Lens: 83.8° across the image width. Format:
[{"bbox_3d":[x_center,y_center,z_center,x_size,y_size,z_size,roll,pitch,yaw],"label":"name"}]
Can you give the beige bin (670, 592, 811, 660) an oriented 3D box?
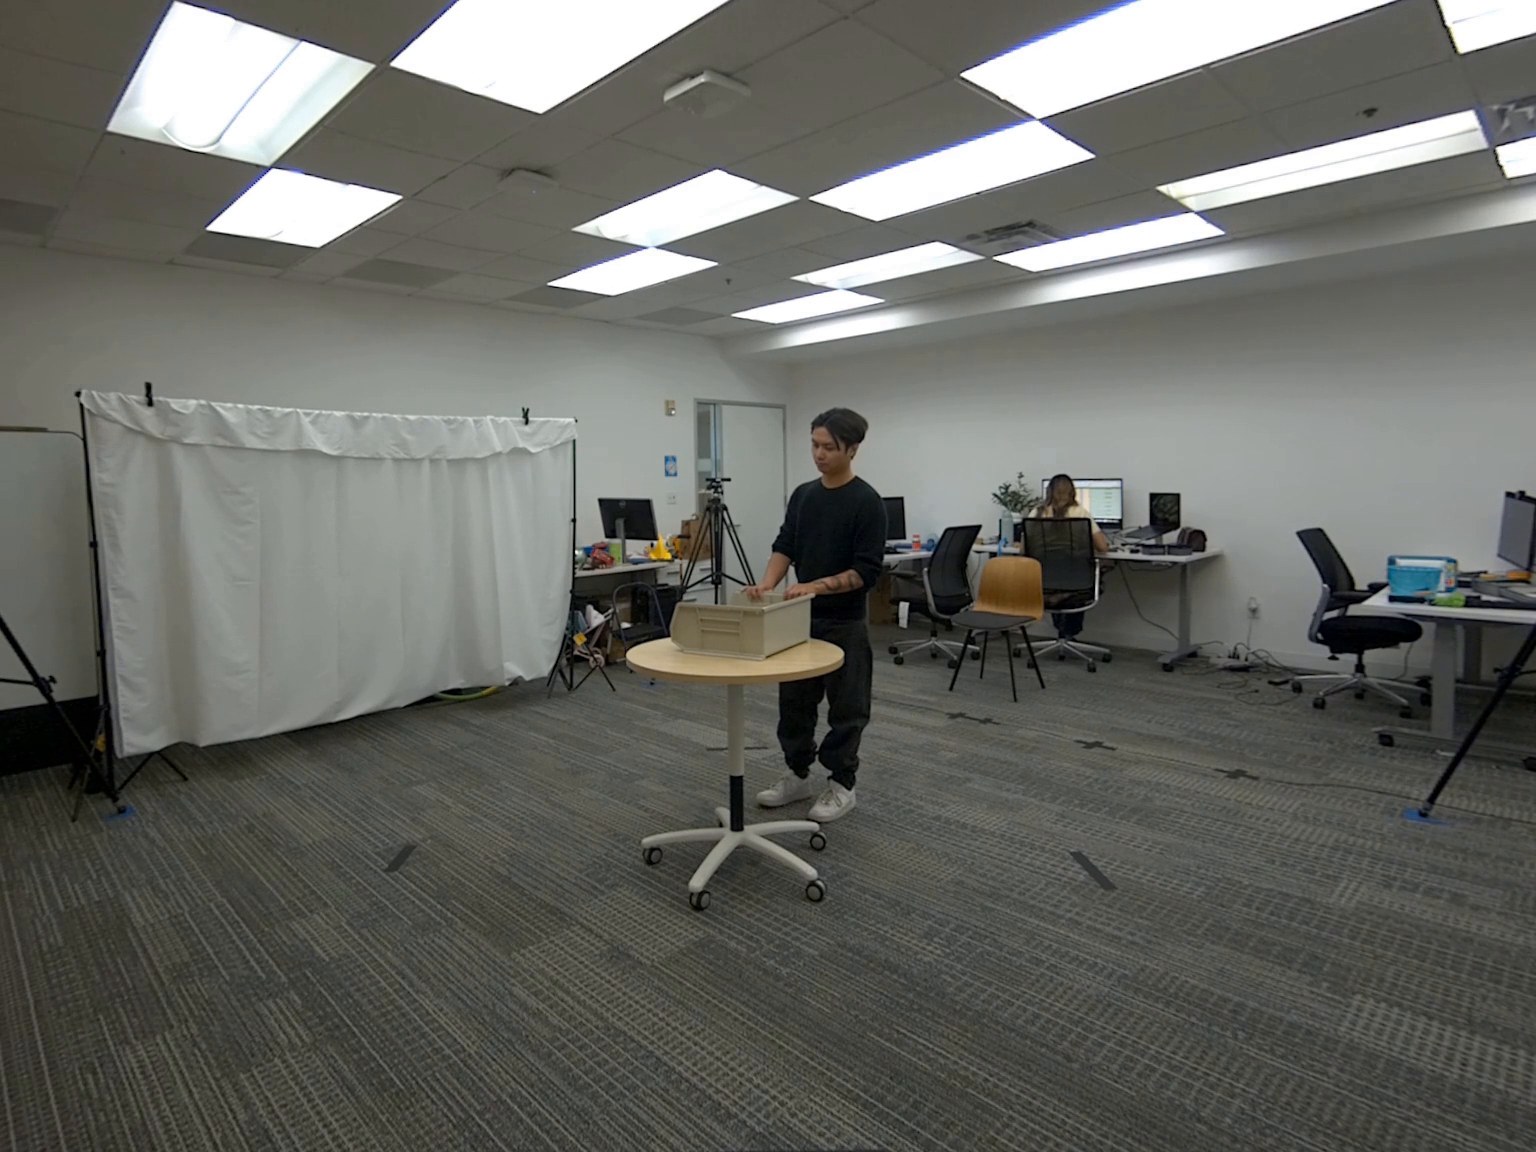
[{"bbox_3d":[-0.086,0.166,3.115,0.387,0.188,0.413,4,7,27],"label":"beige bin"}]
